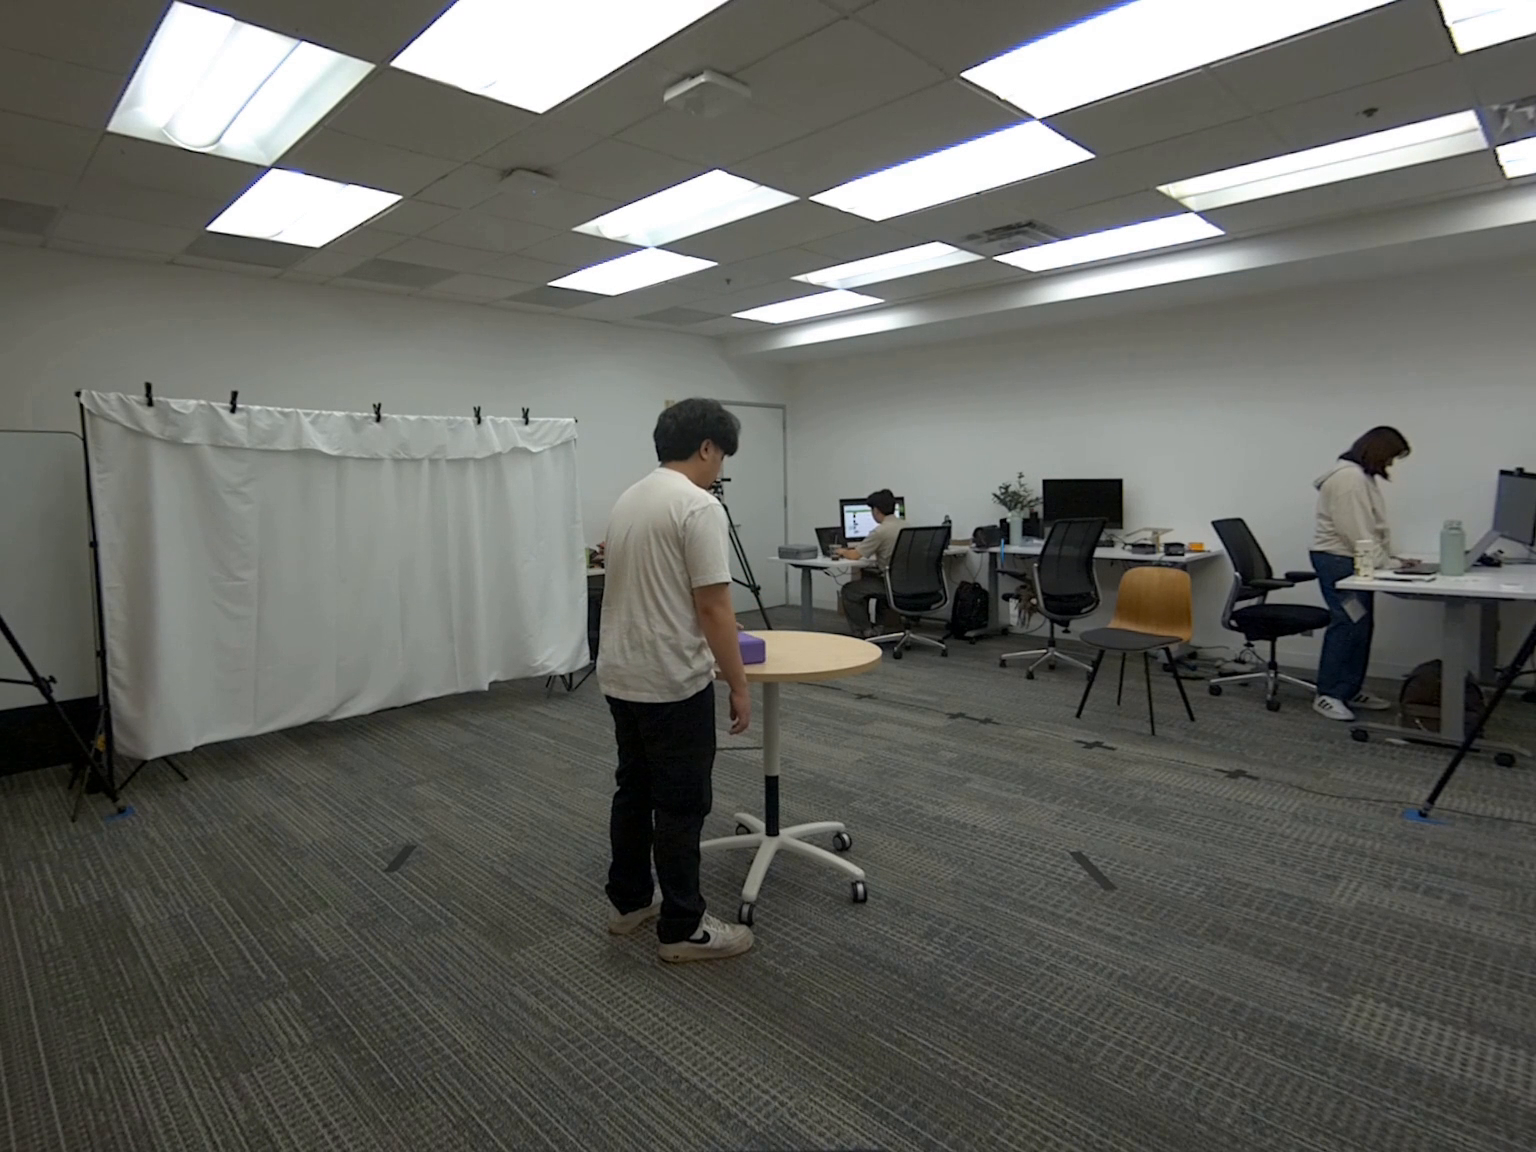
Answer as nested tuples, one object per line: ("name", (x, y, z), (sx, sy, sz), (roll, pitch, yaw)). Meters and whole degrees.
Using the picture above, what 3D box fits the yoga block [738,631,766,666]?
("yoga block", (-0.110, 0.236, 2.828), (0.146, 0.076, 0.235), (-3, 6, -23))
